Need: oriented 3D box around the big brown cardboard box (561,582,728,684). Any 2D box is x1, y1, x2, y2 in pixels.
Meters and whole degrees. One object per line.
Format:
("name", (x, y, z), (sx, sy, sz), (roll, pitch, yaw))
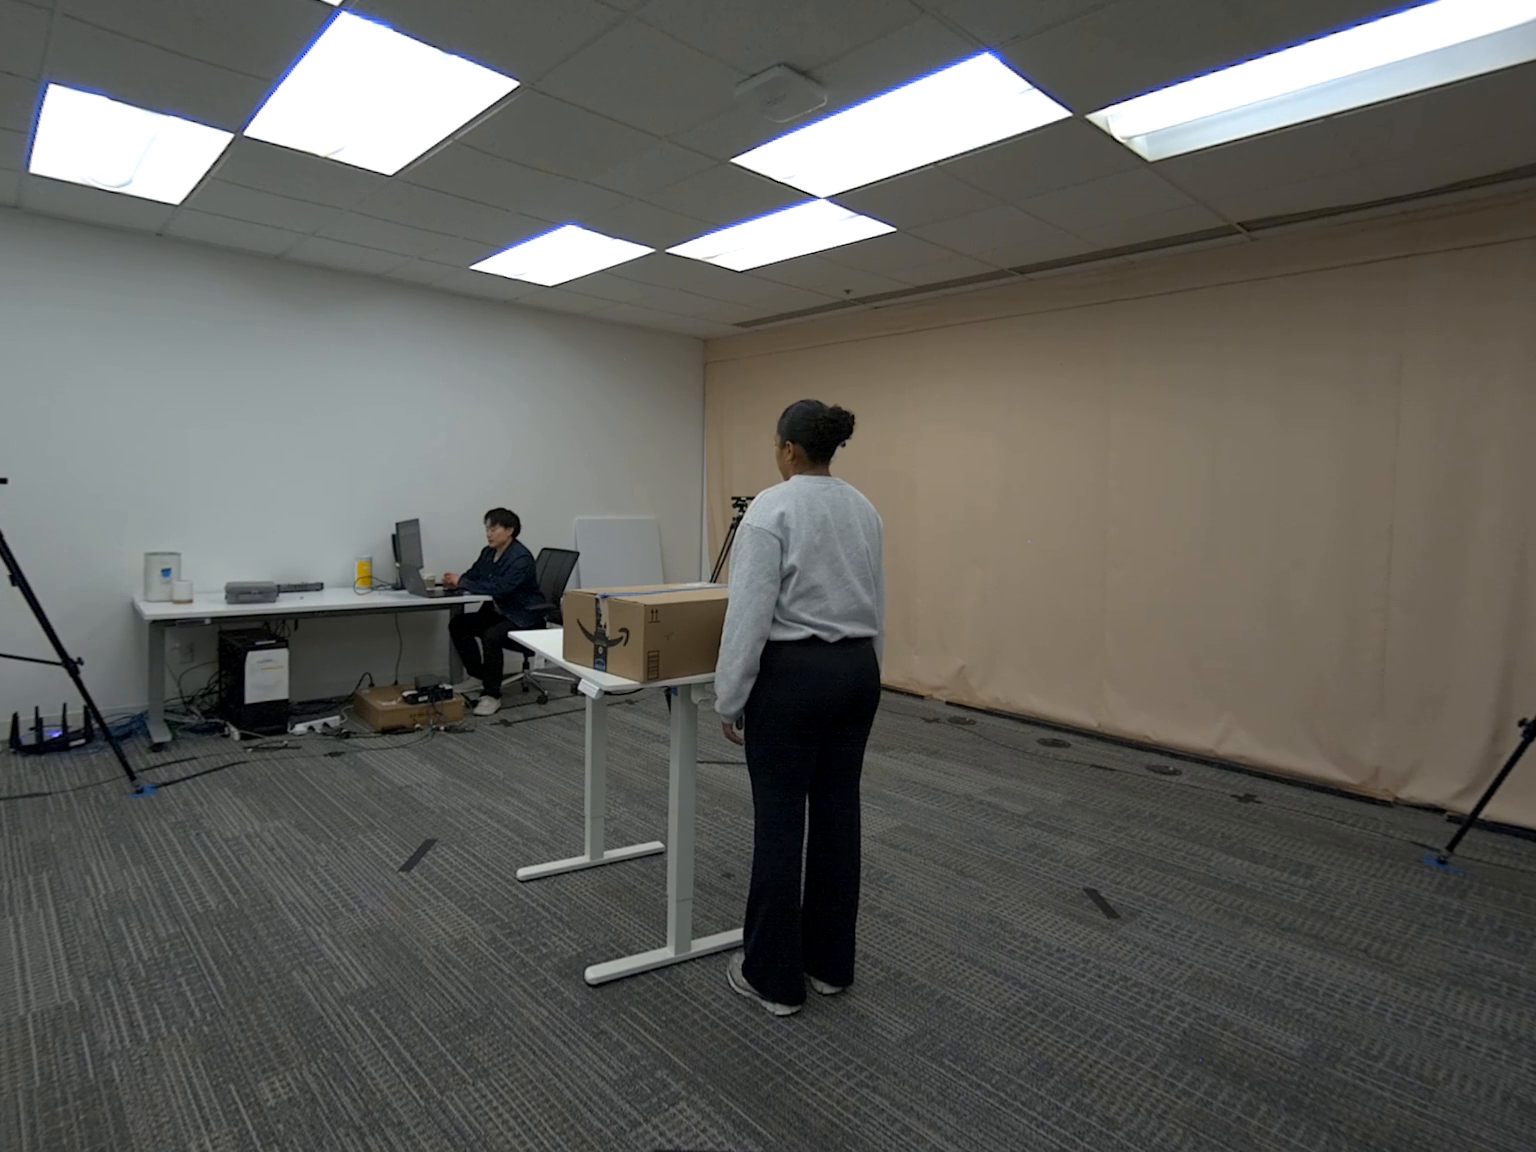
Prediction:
("big brown cardboard box", (-0.275, 0.158, 2.602), (0.576, 0.232, 0.428), (-5, 7, -44))
